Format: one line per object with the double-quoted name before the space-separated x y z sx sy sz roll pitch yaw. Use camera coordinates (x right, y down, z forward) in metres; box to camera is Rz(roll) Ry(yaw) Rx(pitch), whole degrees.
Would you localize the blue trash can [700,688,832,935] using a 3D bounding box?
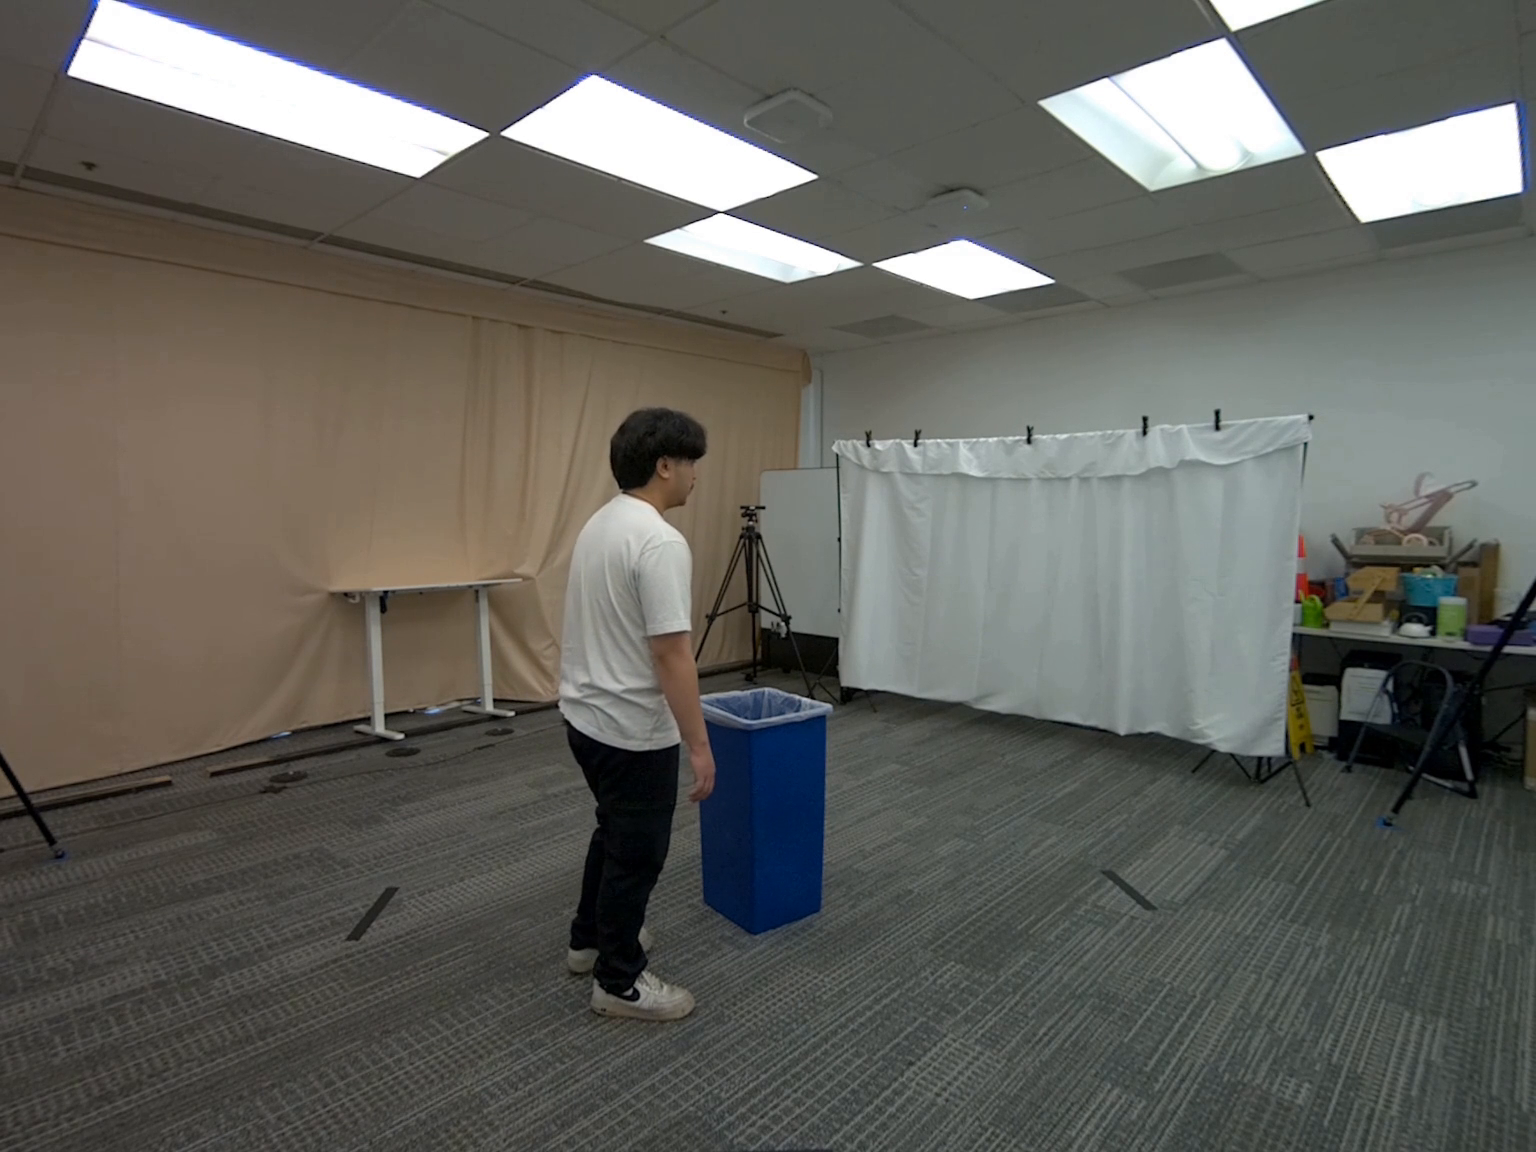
"blue trash can" -0.025 0.792 2.907 0.363 0.712 0.390 -2 4 -37
